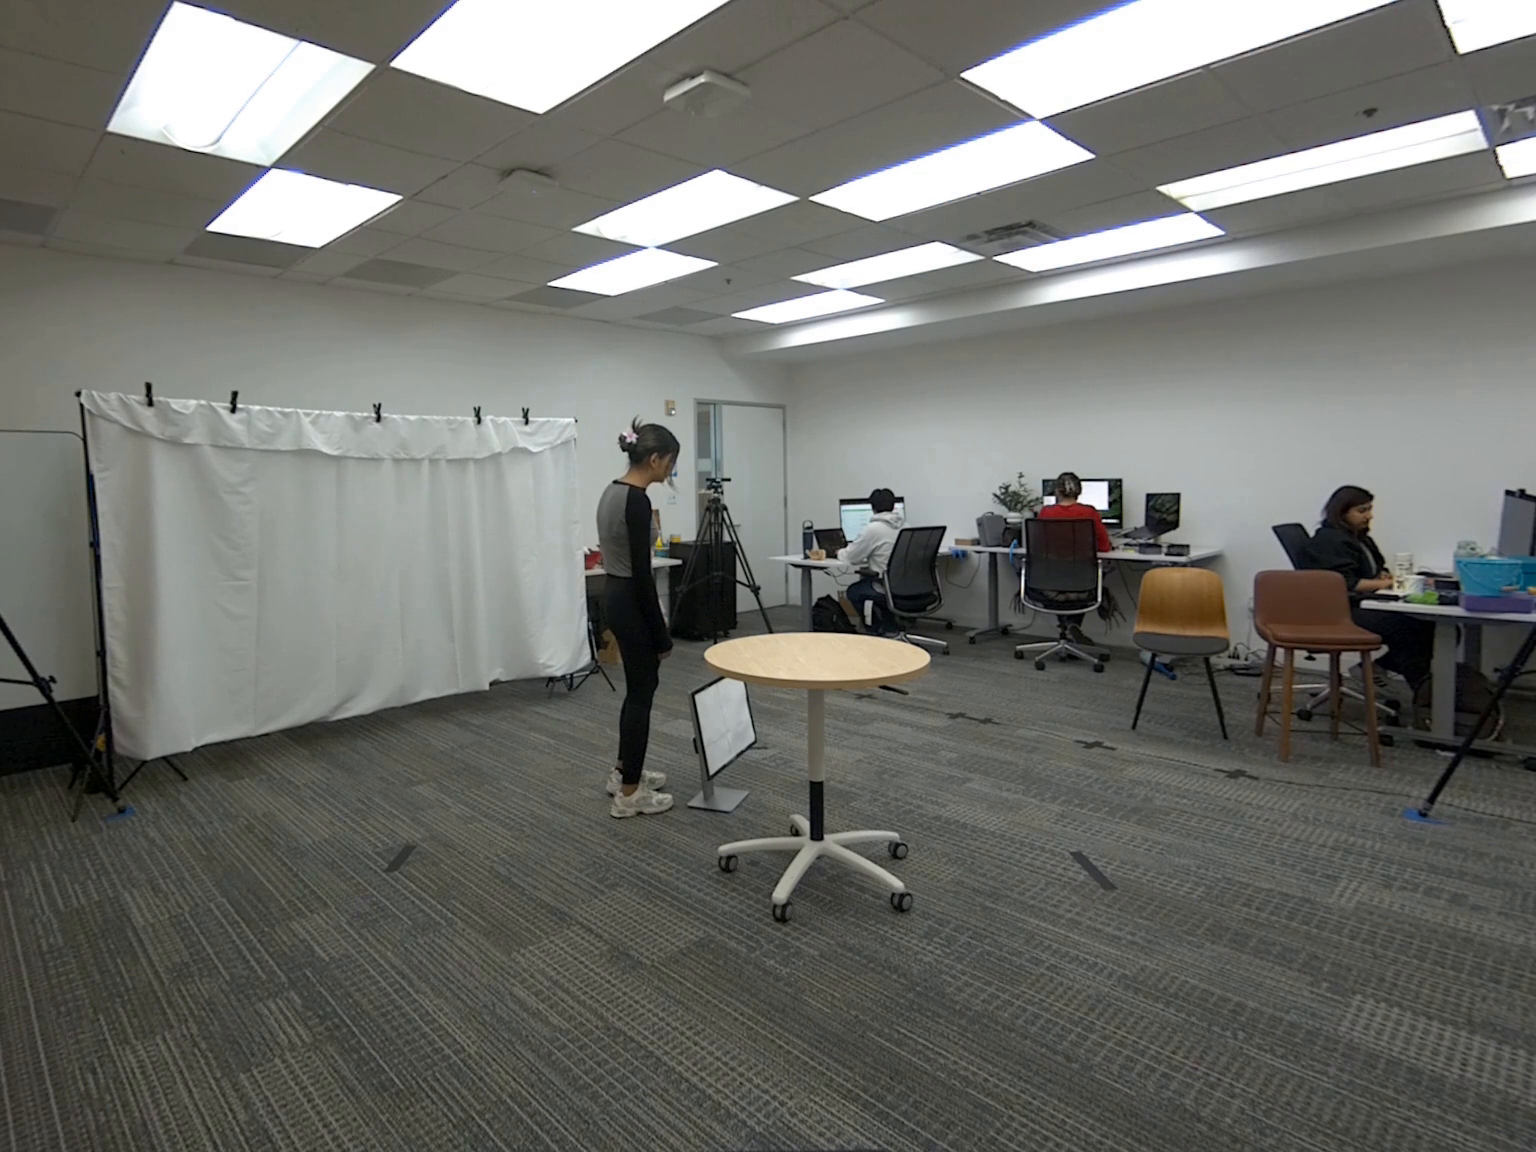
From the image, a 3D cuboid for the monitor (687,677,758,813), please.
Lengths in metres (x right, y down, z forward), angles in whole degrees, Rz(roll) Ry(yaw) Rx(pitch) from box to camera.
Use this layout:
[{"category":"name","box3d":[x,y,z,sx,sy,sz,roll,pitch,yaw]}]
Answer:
[{"category":"monitor","box3d":[-0.221,0.713,3.705,0.190,0.521,0.531,1,5,18]}]
